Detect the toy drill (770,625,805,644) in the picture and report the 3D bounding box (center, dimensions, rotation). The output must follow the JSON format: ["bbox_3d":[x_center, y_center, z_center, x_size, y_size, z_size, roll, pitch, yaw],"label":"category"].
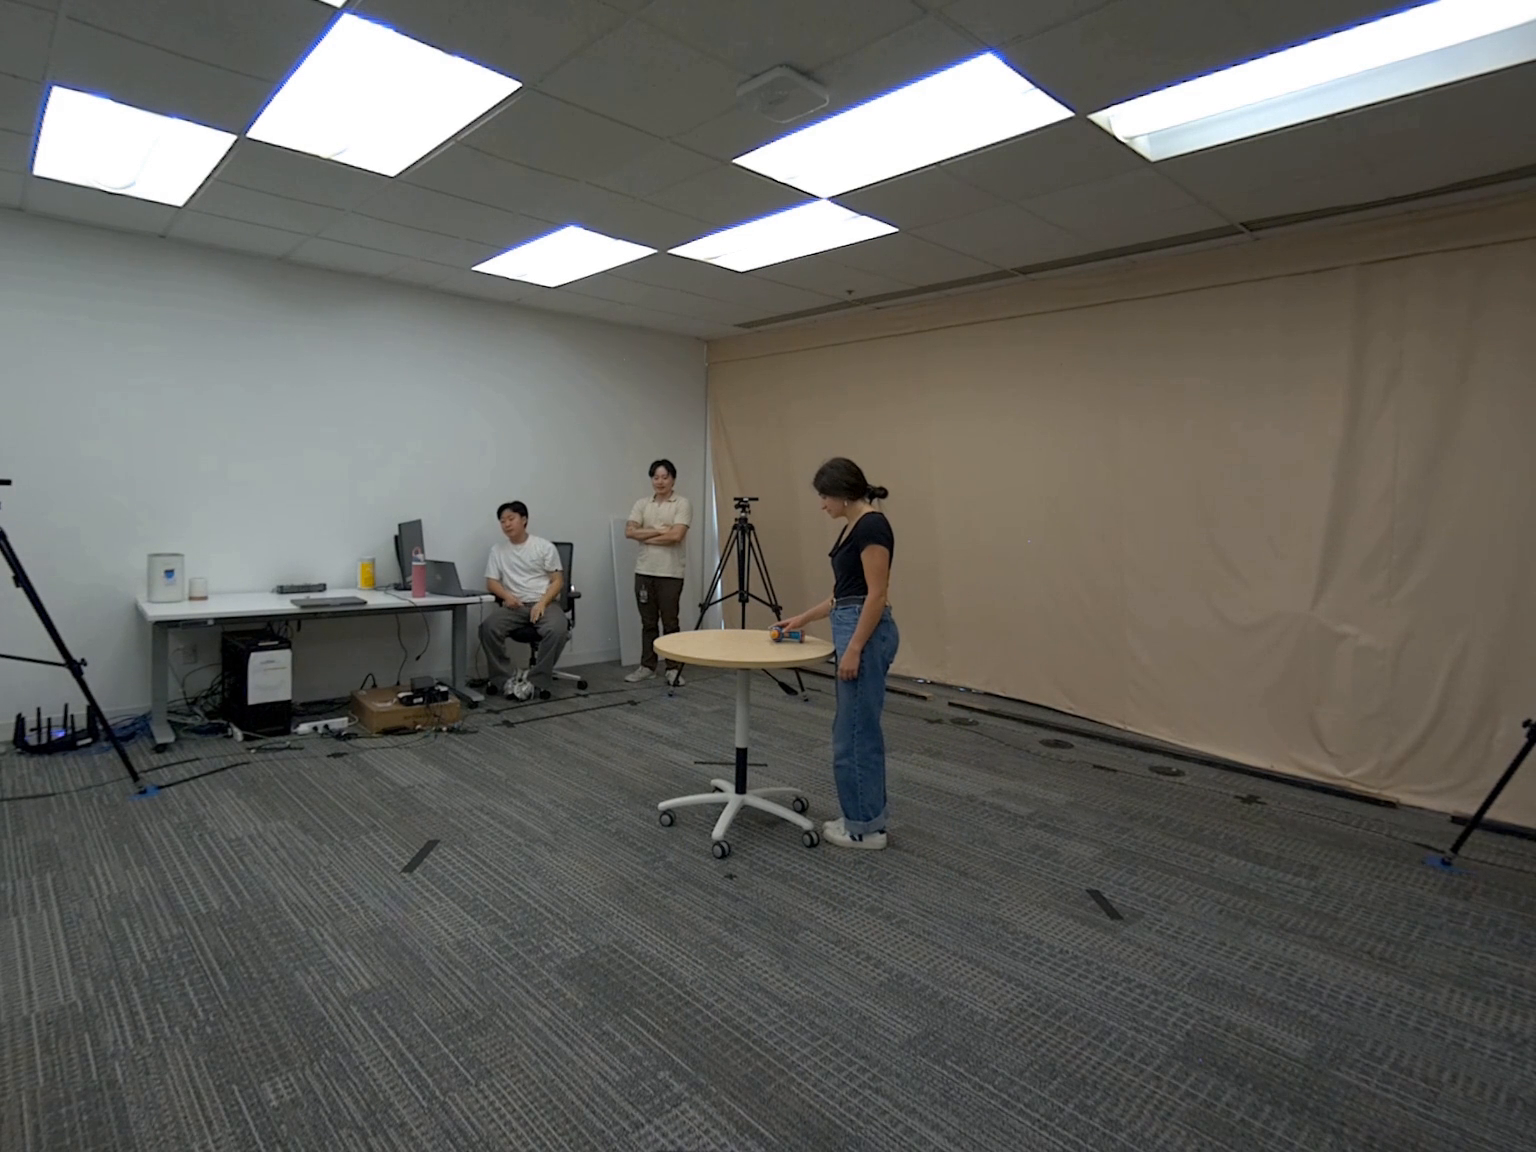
[{"bbox_3d":[0.072,0.256,3.627,0.147,0.061,0.168,4,-3,8],"label":"toy drill"}]
